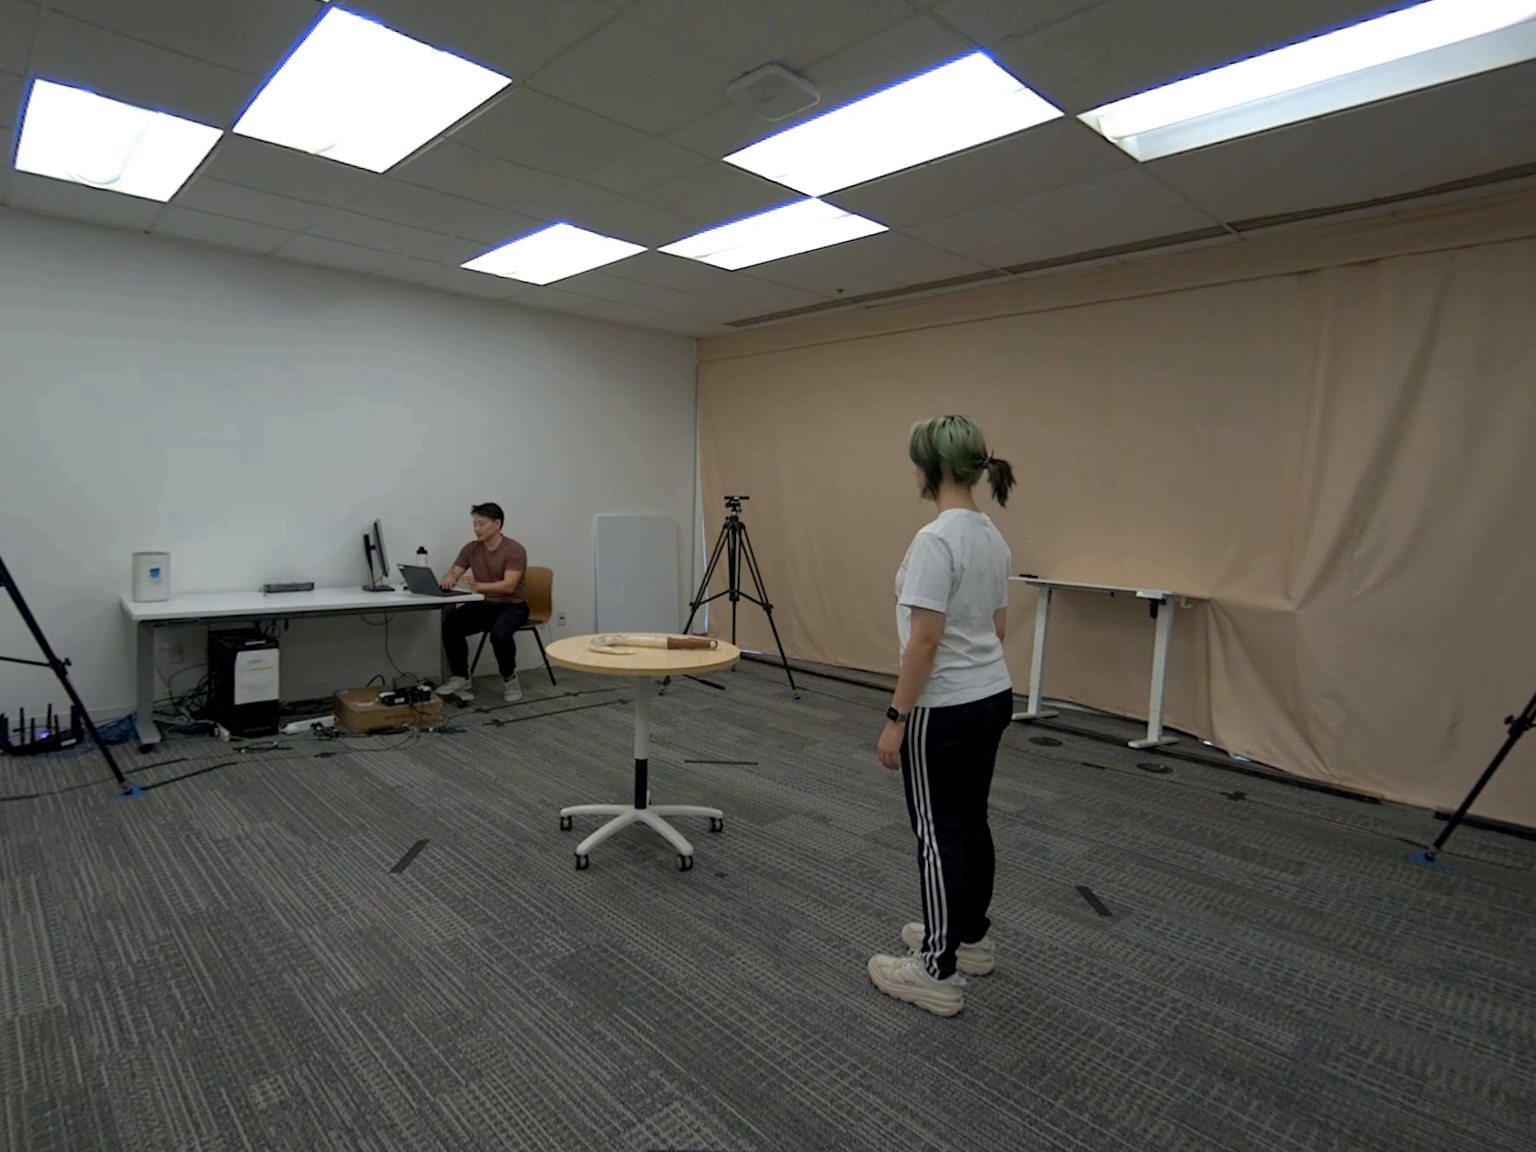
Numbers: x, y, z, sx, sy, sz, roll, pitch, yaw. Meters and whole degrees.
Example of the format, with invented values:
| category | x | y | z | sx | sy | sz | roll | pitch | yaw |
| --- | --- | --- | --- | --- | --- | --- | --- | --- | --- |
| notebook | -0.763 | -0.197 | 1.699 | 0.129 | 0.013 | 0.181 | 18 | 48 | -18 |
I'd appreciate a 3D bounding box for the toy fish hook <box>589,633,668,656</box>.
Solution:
| category | x | y | z | sx | sy | sz | roll | pitch | yaw |
| --- | --- | --- | --- | --- | --- | --- | --- | --- | --- |
| toy fish hook | -0.457 | 0.277 | 3.320 | 0.506 | 0.048 | 0.226 | 0 | 12 | 0 |
